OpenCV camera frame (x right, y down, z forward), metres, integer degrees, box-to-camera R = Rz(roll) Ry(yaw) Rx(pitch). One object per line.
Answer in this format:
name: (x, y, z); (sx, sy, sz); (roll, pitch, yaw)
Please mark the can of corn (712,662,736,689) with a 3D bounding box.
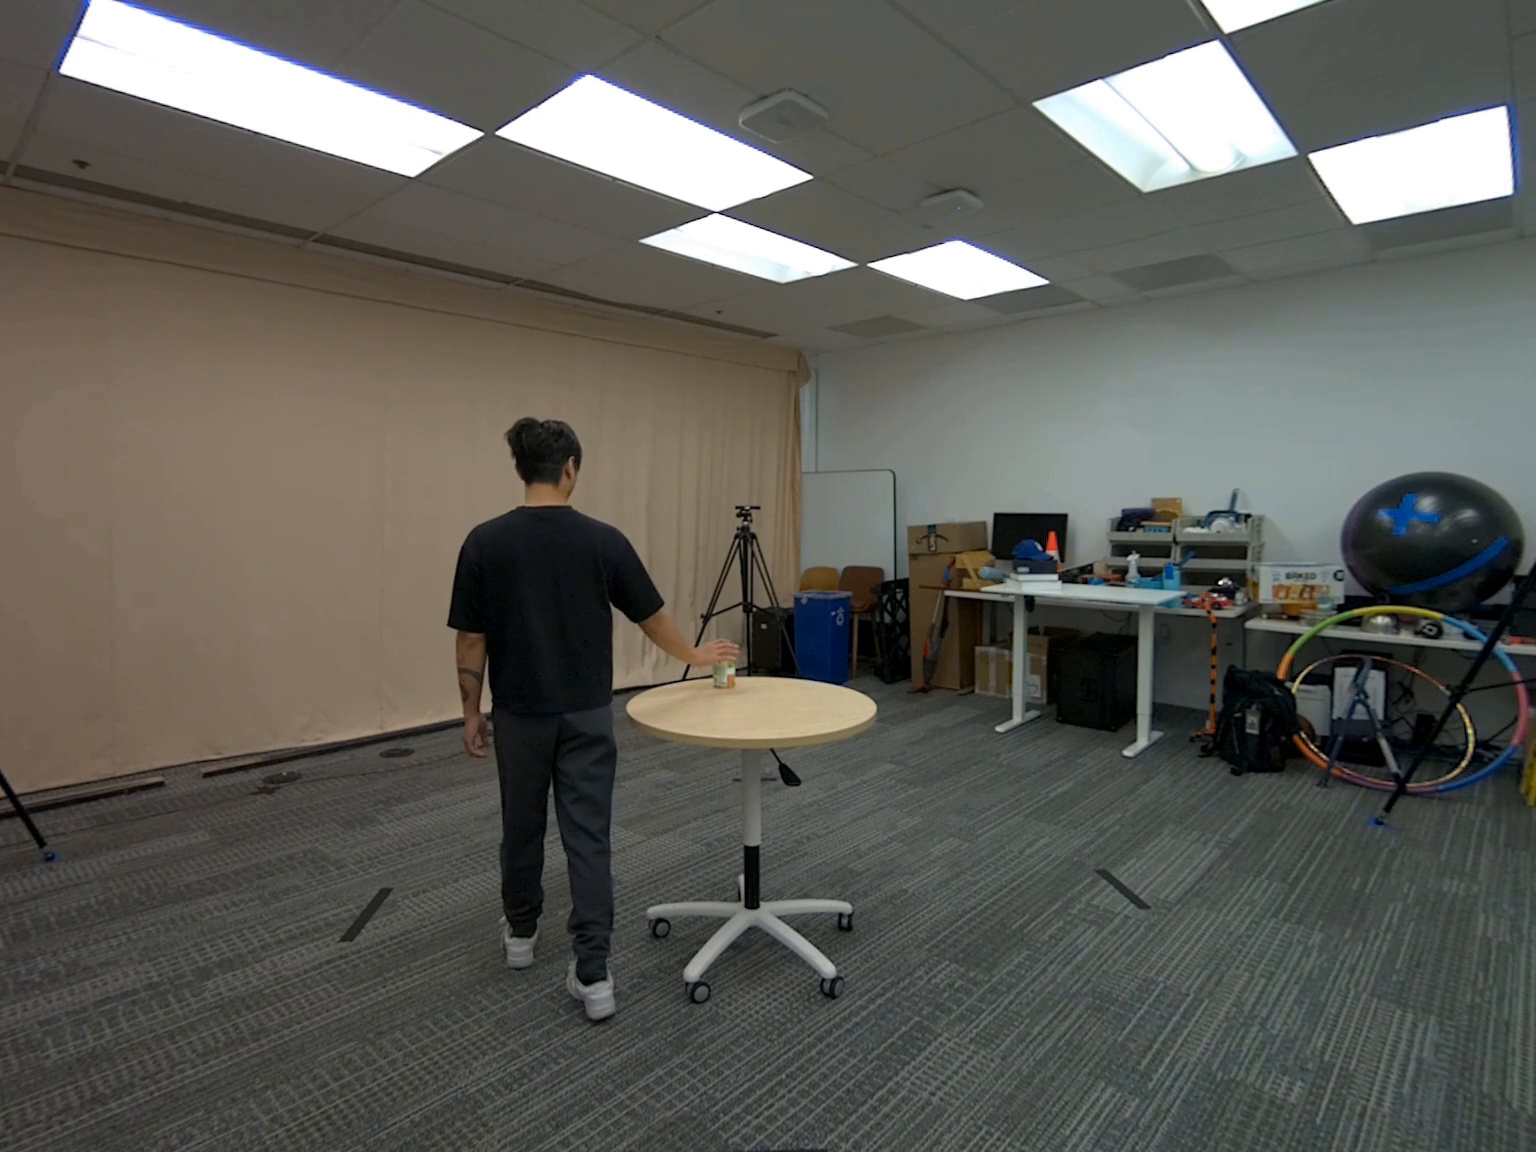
can of corn: (-0.148, 0.318, 2.828); (0.074, 0.111, 0.074); (-4, 4, -2)
